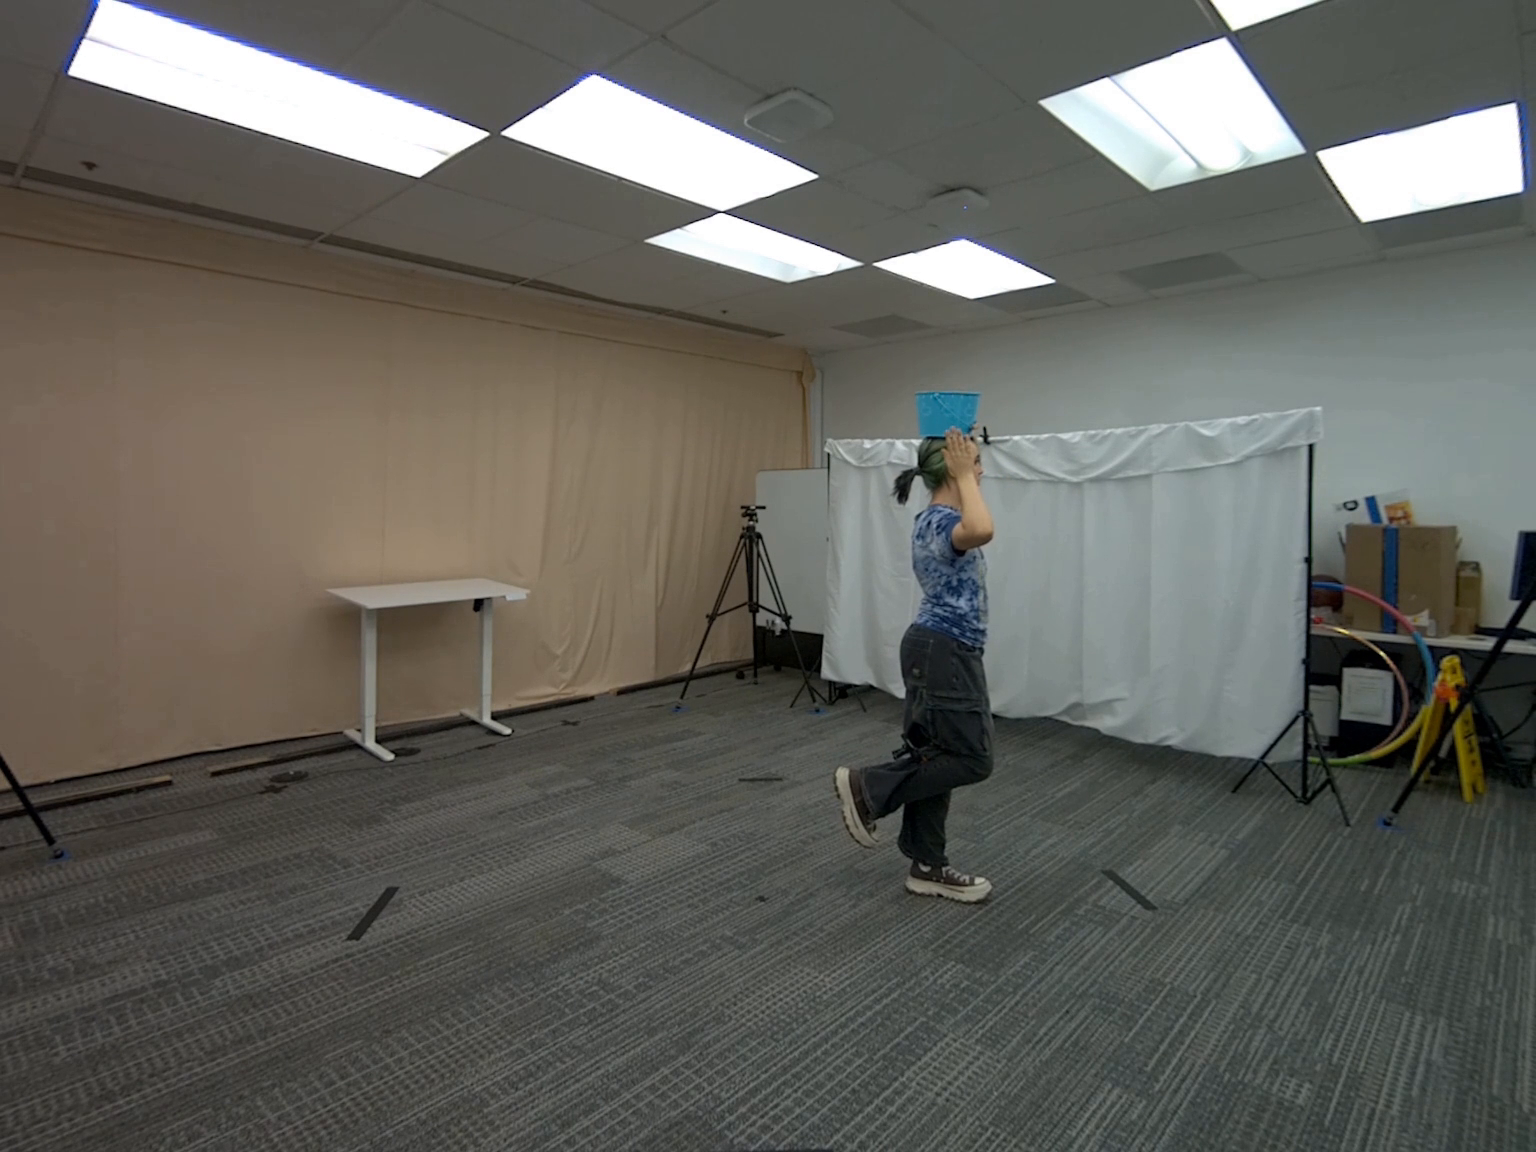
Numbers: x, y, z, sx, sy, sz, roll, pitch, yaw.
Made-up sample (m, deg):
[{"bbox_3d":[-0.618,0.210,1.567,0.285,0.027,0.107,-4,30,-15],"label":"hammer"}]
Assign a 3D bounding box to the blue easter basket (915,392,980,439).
[{"bbox_3d":[0.641,-0.571,2.997,0.243,0.155,0.245,2,8,-2],"label":"blue easter basket"}]
